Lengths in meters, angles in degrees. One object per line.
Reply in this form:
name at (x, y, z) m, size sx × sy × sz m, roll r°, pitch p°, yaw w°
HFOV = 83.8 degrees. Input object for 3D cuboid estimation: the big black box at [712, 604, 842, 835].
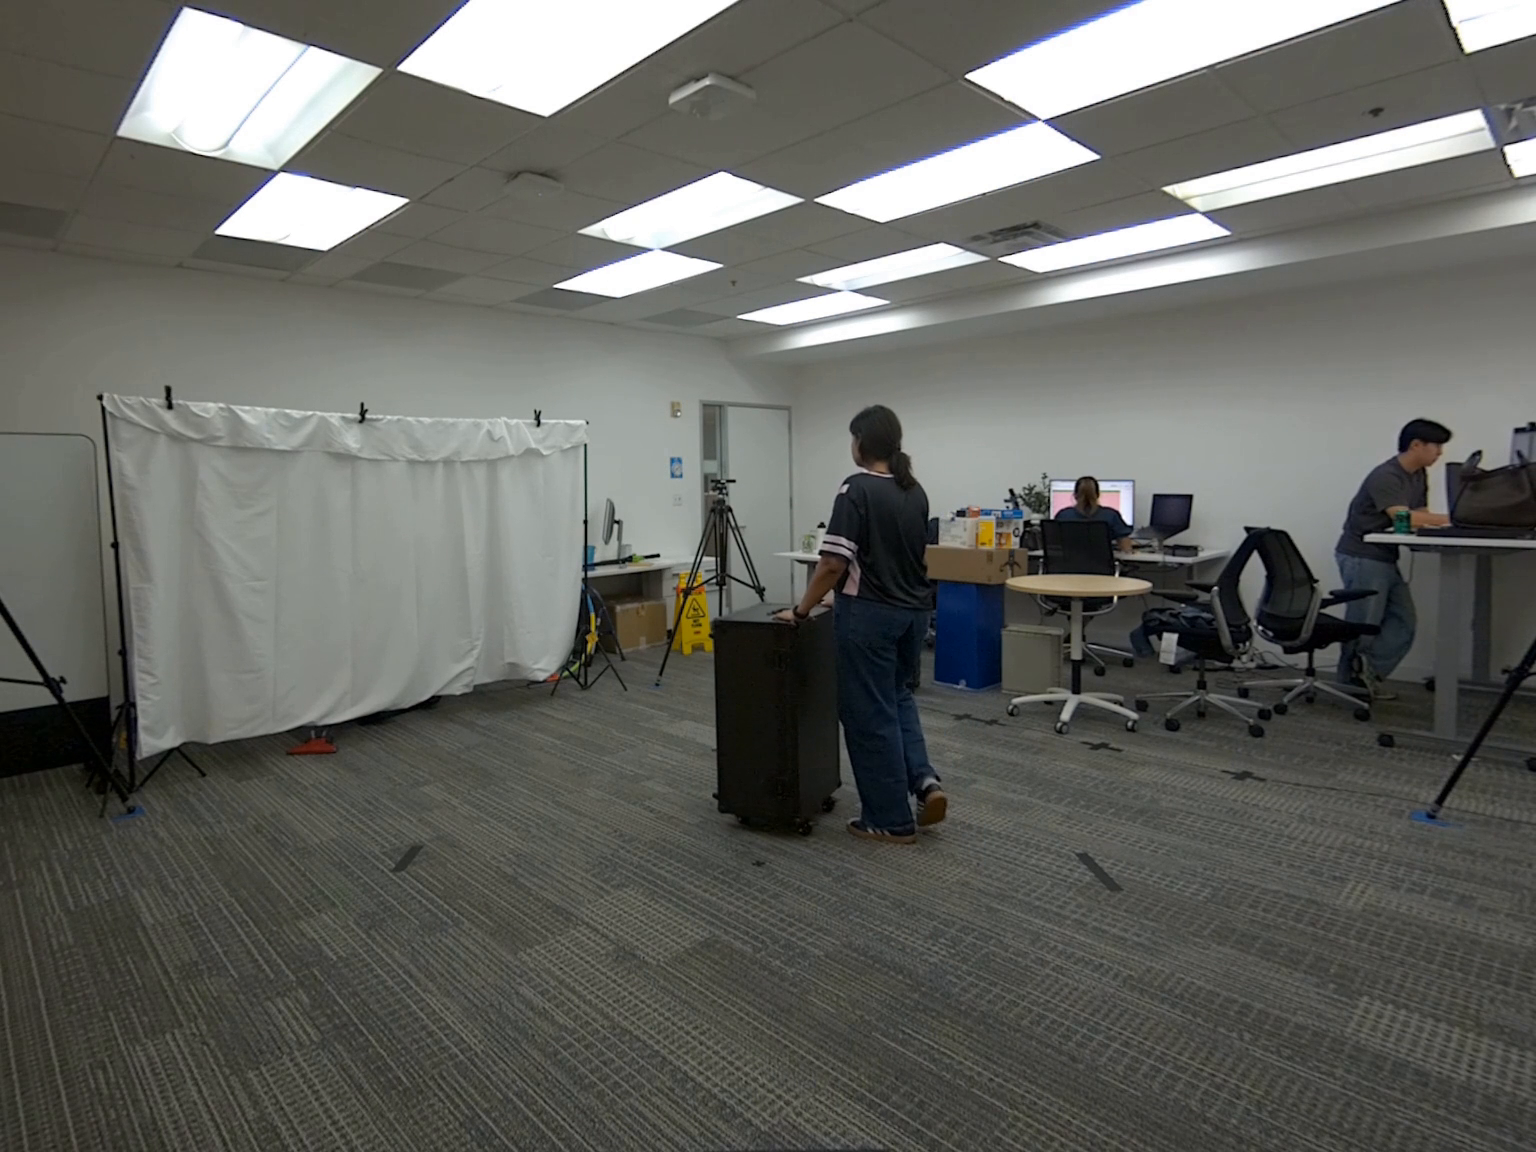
big black box at (0.045, 0.572, 3.526) m, size 0.394 × 0.866 × 0.514 m, roll 0°, pitch 4°, yaw 24°
